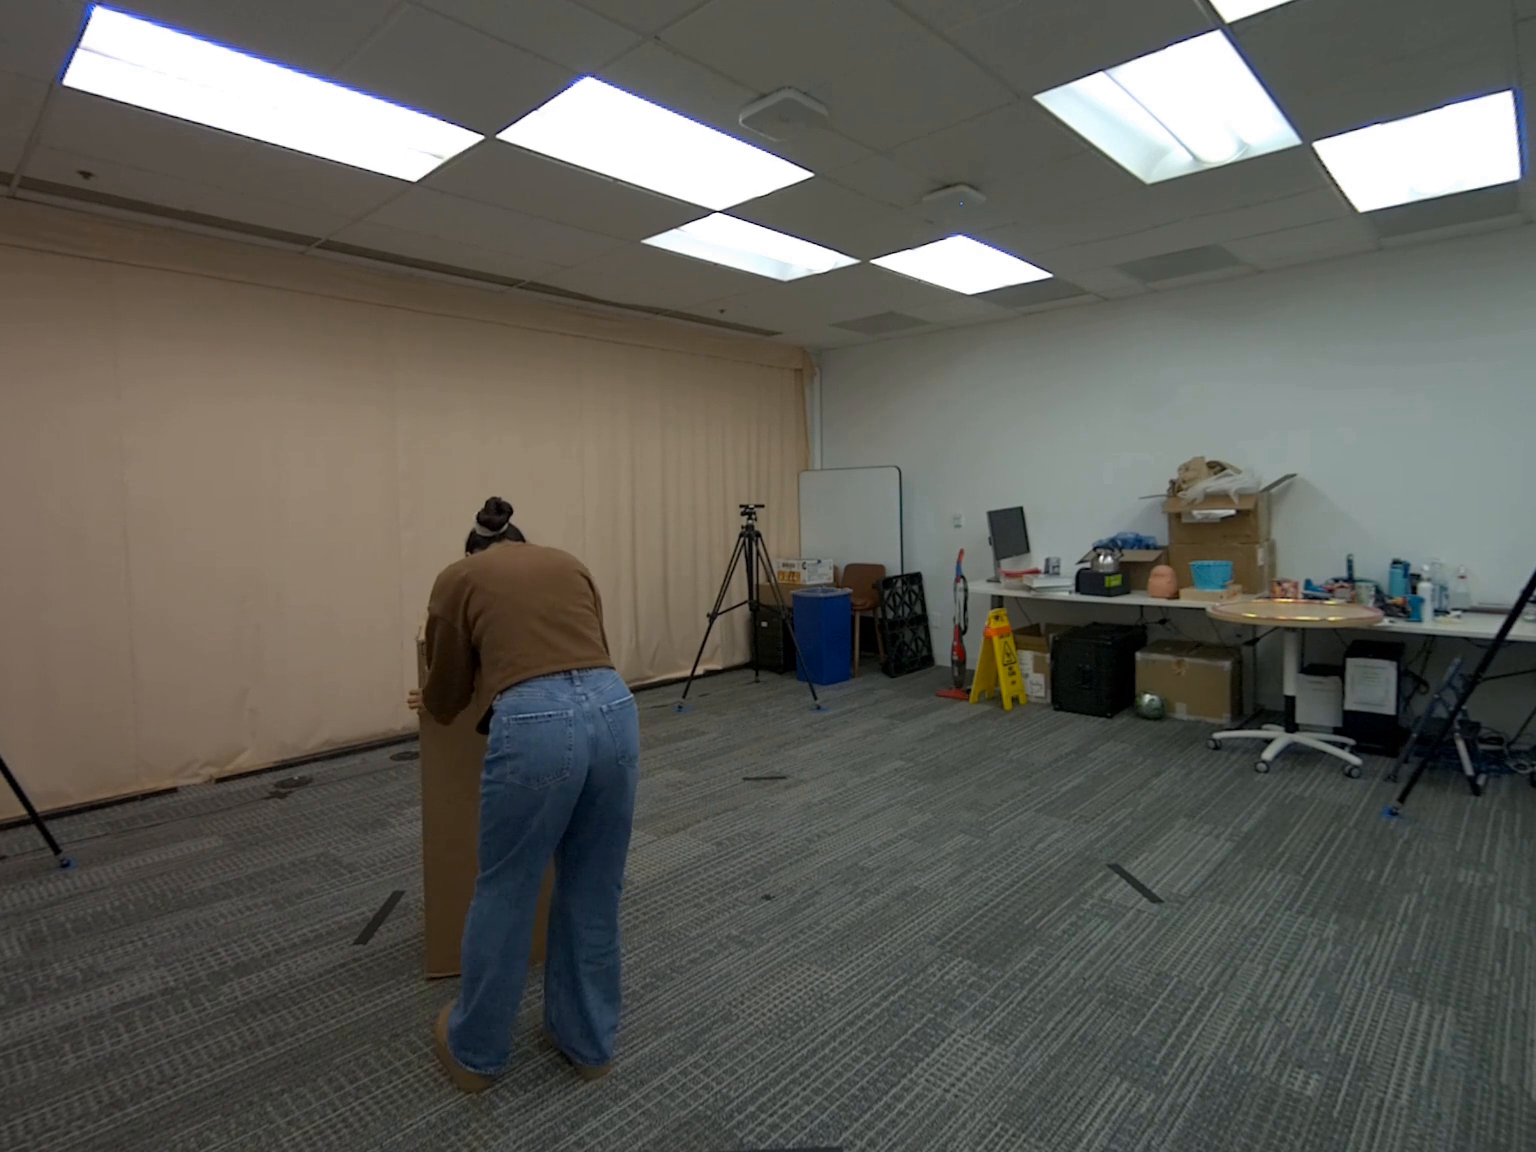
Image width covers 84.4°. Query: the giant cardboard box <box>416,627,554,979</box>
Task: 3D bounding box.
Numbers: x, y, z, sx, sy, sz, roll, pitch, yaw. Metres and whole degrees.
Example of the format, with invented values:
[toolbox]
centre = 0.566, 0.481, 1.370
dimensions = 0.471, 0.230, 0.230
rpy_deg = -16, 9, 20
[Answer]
[giant cardboard box]
centre = -0.912, 0.662, 2.787
dimensions = 0.419, 1.023, 0.589
rpy_deg = -1, 4, -18
